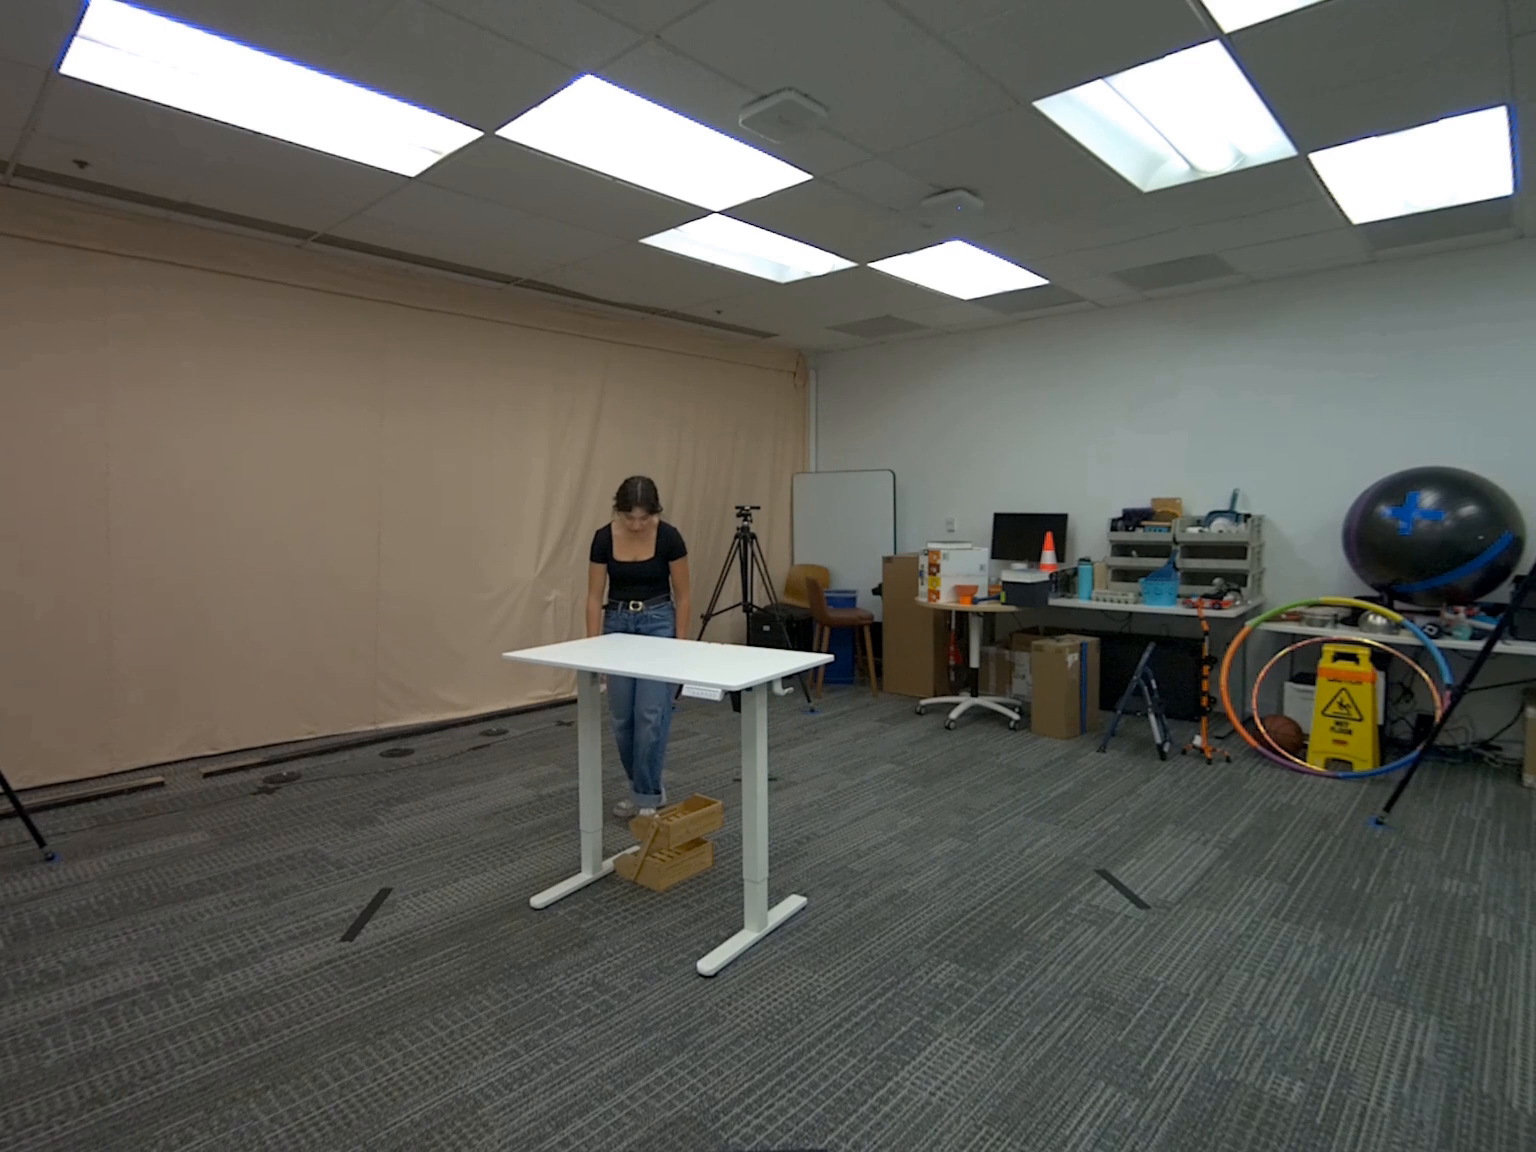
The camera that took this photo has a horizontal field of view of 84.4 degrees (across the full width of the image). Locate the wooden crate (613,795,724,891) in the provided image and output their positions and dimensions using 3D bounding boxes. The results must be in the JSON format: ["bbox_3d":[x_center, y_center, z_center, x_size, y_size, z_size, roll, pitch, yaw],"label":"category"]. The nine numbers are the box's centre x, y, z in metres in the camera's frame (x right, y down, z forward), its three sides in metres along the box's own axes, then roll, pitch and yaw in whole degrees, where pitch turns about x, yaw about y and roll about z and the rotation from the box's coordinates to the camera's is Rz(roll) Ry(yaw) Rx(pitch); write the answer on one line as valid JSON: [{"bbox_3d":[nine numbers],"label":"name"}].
[{"bbox_3d":[-0.383,0.993,3.214,0.312,0.272,0.315,4,6,40],"label":"wooden crate"}]
